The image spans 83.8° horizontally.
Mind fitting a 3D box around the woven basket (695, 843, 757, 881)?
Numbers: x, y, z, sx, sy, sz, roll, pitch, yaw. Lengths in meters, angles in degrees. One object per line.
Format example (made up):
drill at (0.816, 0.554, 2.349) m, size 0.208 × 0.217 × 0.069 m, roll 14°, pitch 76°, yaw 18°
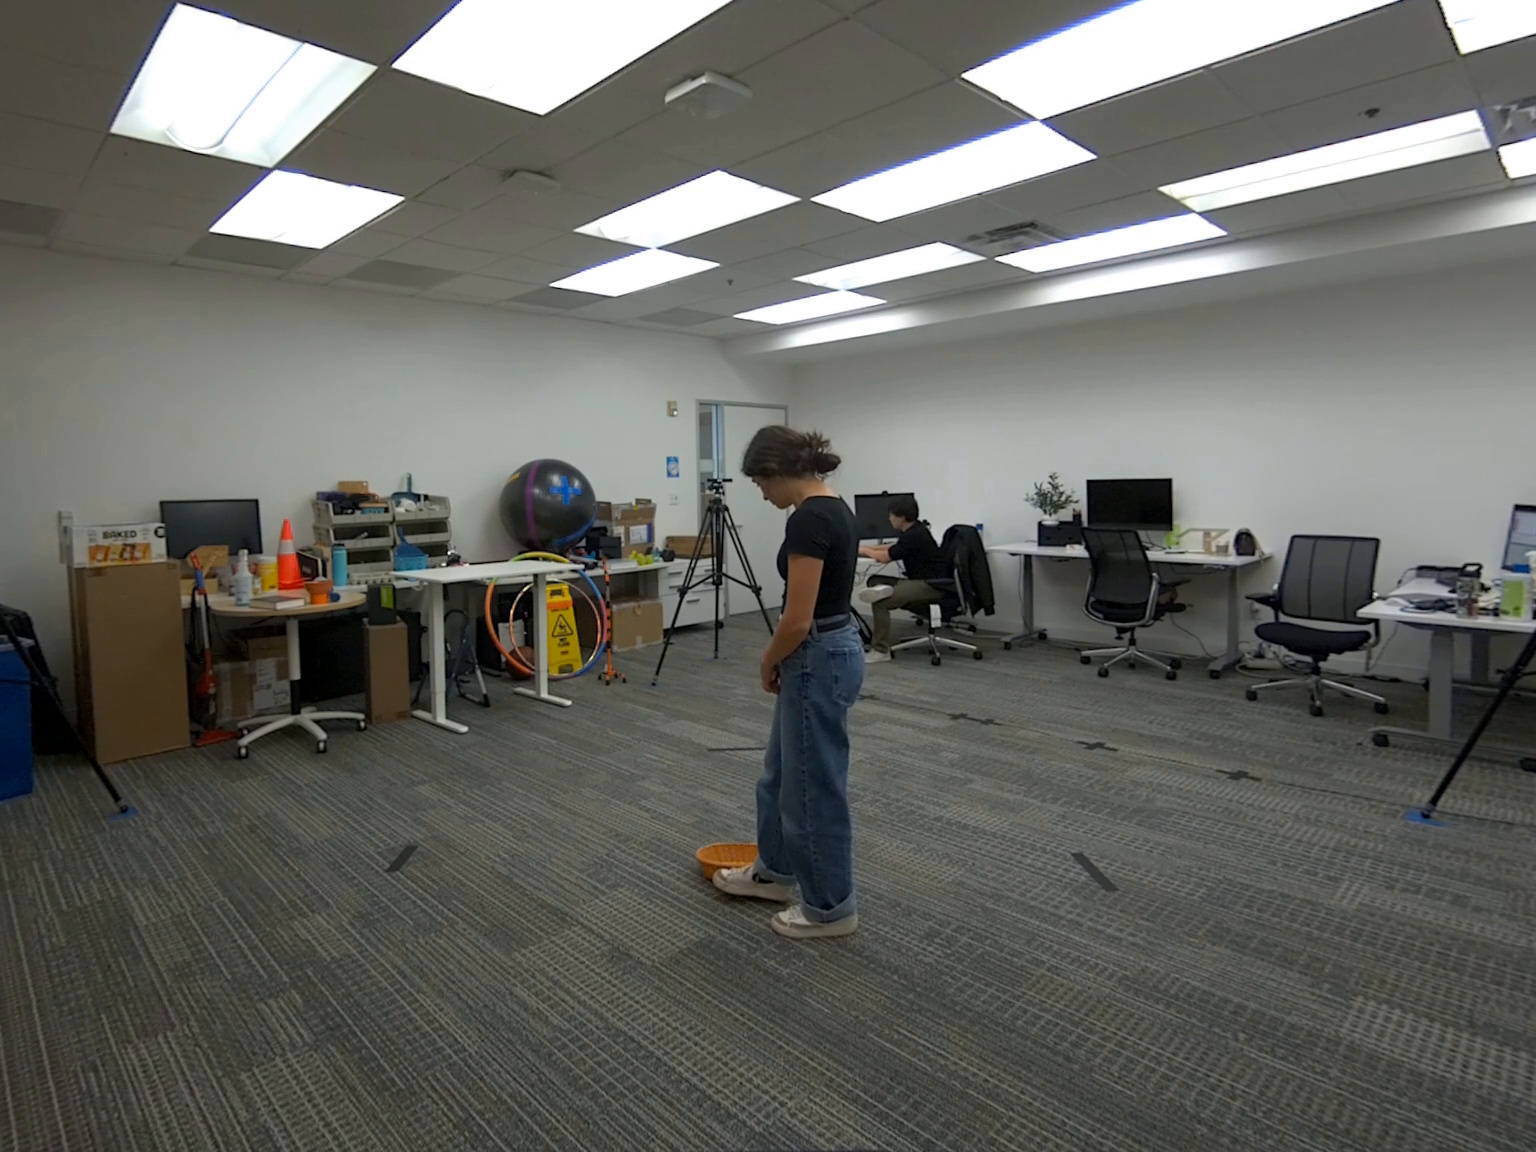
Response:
woven basket at (-0.078, 1.008, 2.997) m, size 0.354 × 0.073 × 0.249 m, roll 0°, pitch -1°, yaw 10°
